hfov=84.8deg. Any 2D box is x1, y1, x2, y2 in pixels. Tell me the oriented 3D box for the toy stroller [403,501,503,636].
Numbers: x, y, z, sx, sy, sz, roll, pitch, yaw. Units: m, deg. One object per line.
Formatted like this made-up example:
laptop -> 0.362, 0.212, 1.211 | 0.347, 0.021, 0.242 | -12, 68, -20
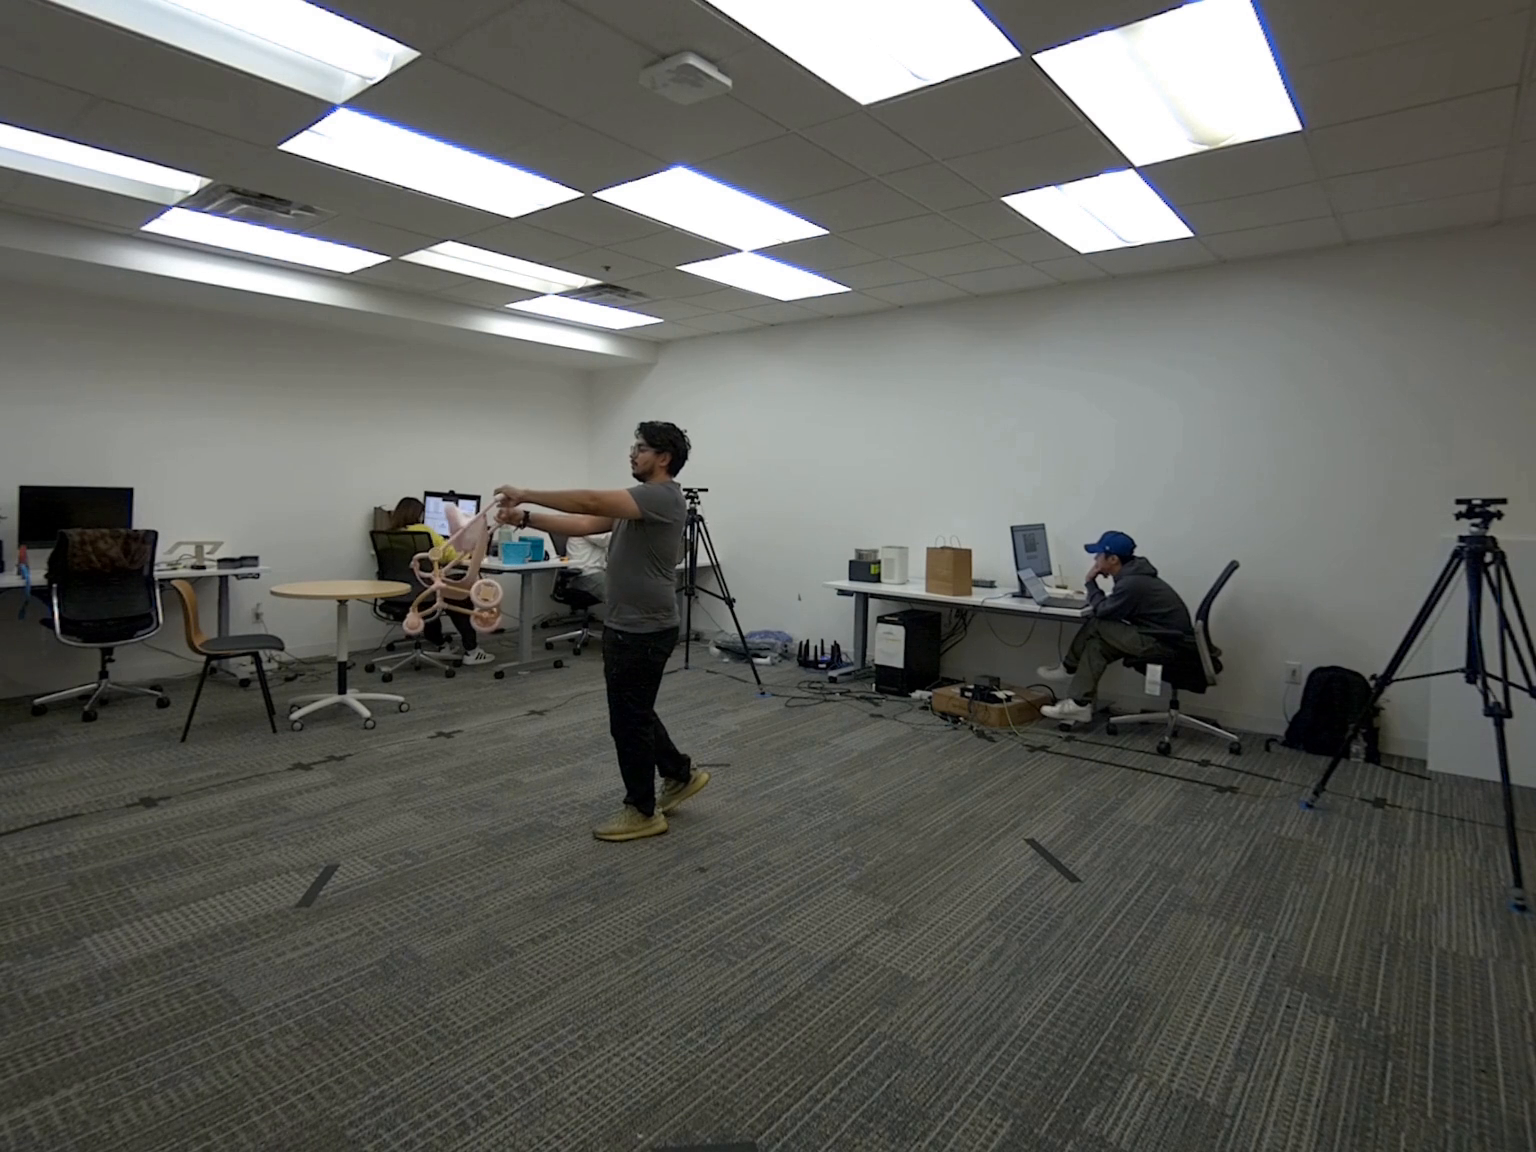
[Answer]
toy stroller -> -1.132, -0.036, 3.080 | 0.338, 0.547, 0.278 | 1, -24, -10
